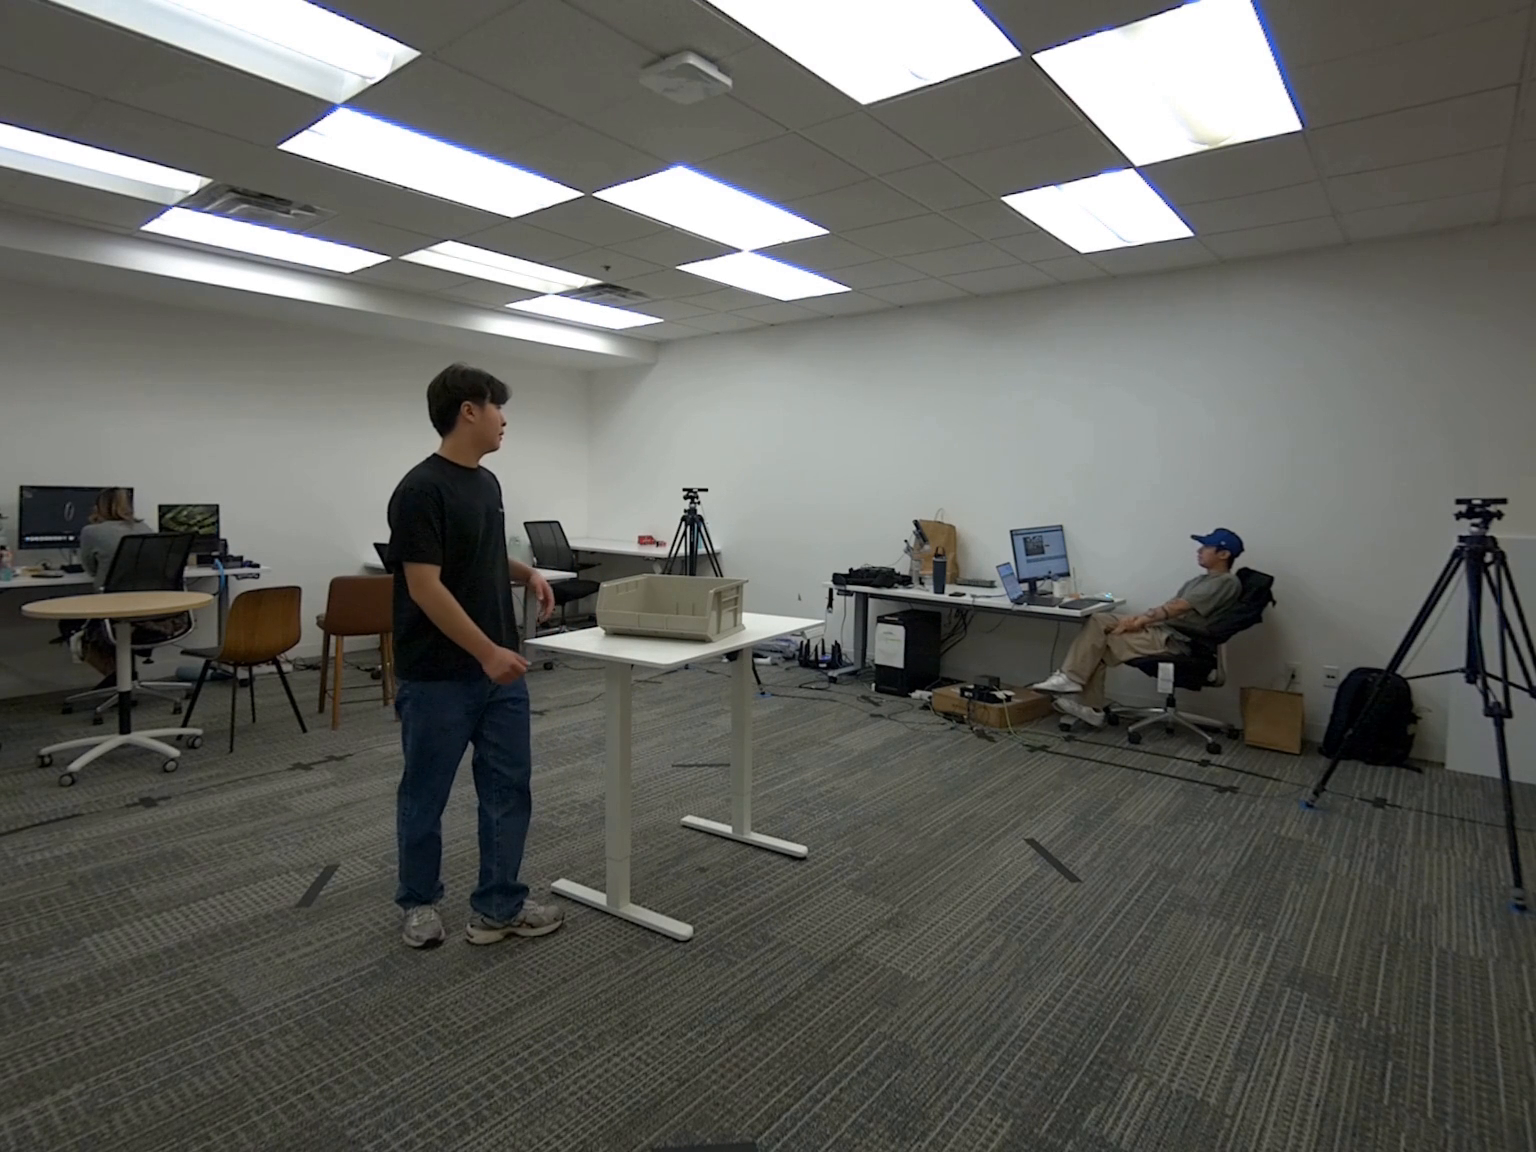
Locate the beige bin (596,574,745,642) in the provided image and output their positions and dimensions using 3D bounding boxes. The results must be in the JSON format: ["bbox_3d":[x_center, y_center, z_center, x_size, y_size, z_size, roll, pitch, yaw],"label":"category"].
[{"bbox_3d":[-0.341,0.109,2.988,0.432,0.188,0.370,2,4,21],"label":"beige bin"}]
